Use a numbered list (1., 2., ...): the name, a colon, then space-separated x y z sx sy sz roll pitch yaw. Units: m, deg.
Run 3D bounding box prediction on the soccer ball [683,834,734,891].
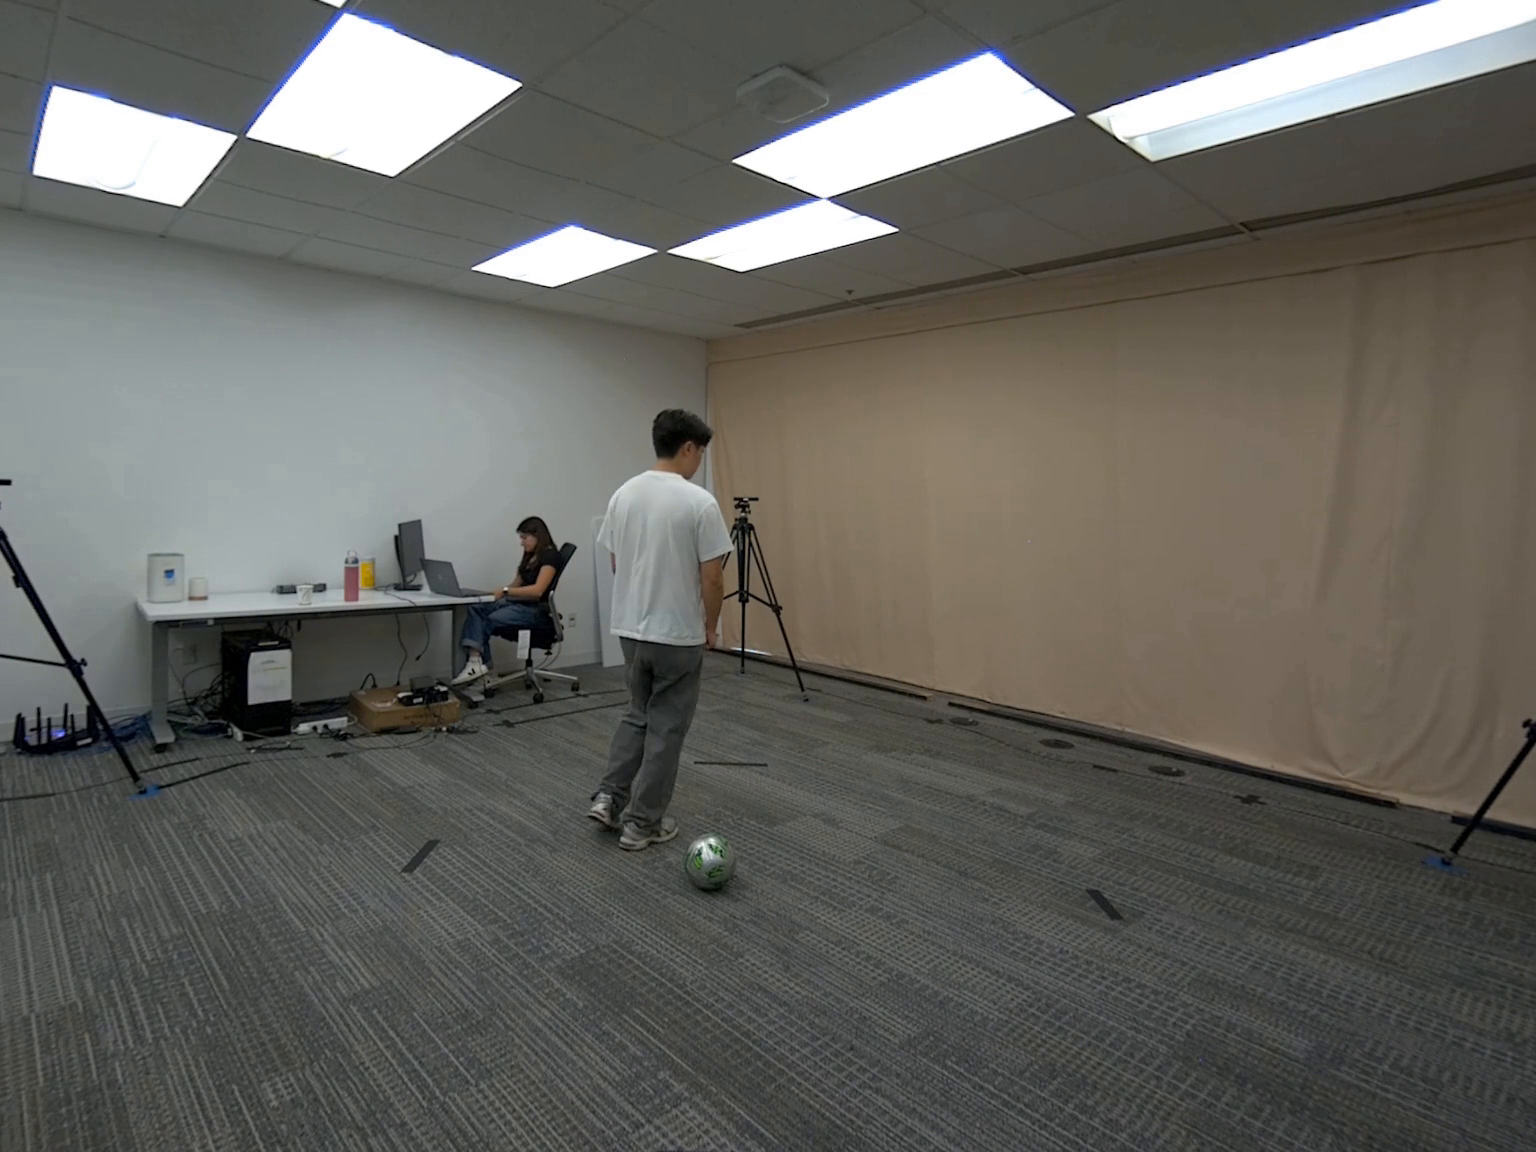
1. soccer ball: -0.213 1.023 3.007 0.187 0.187 0.188 1 4 -1
